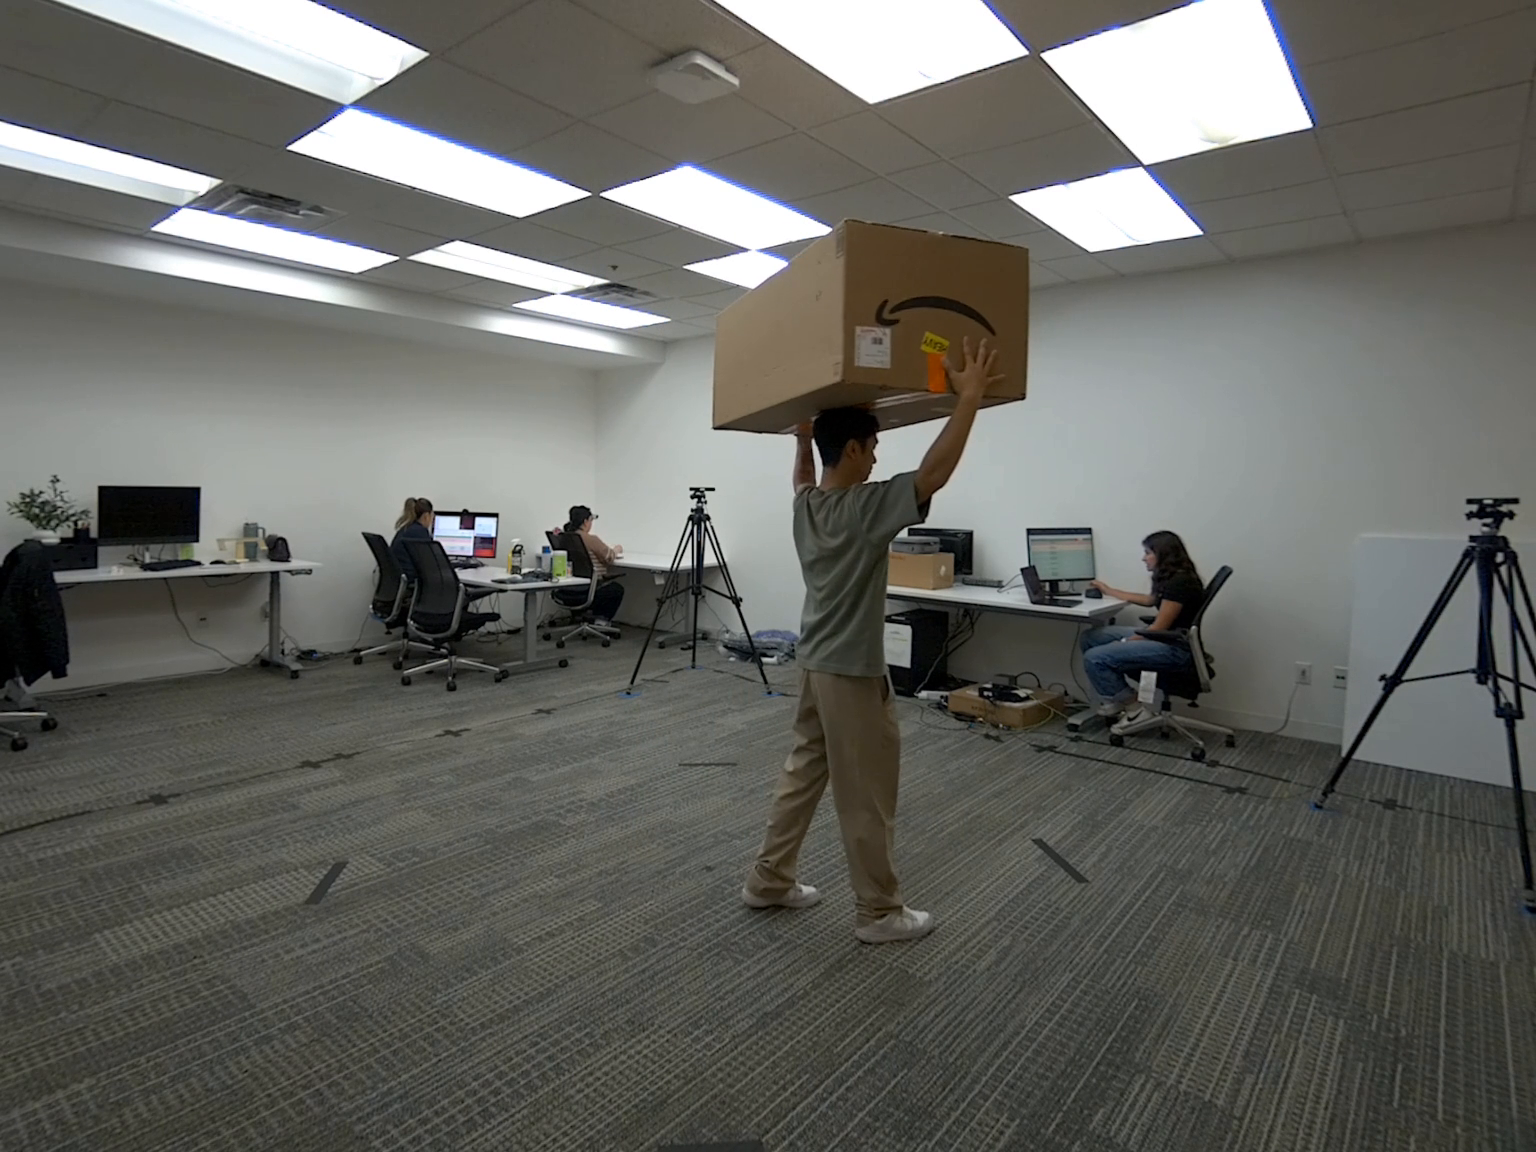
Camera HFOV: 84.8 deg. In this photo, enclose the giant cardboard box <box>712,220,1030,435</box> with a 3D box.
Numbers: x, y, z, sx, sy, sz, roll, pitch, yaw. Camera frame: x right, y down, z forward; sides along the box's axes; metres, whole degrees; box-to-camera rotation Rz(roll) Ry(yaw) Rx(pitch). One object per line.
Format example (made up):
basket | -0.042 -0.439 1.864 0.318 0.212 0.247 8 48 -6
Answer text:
giant cardboard box | 0.254 -0.727 2.738 0.565 0.426 1.048 2 2 -21
